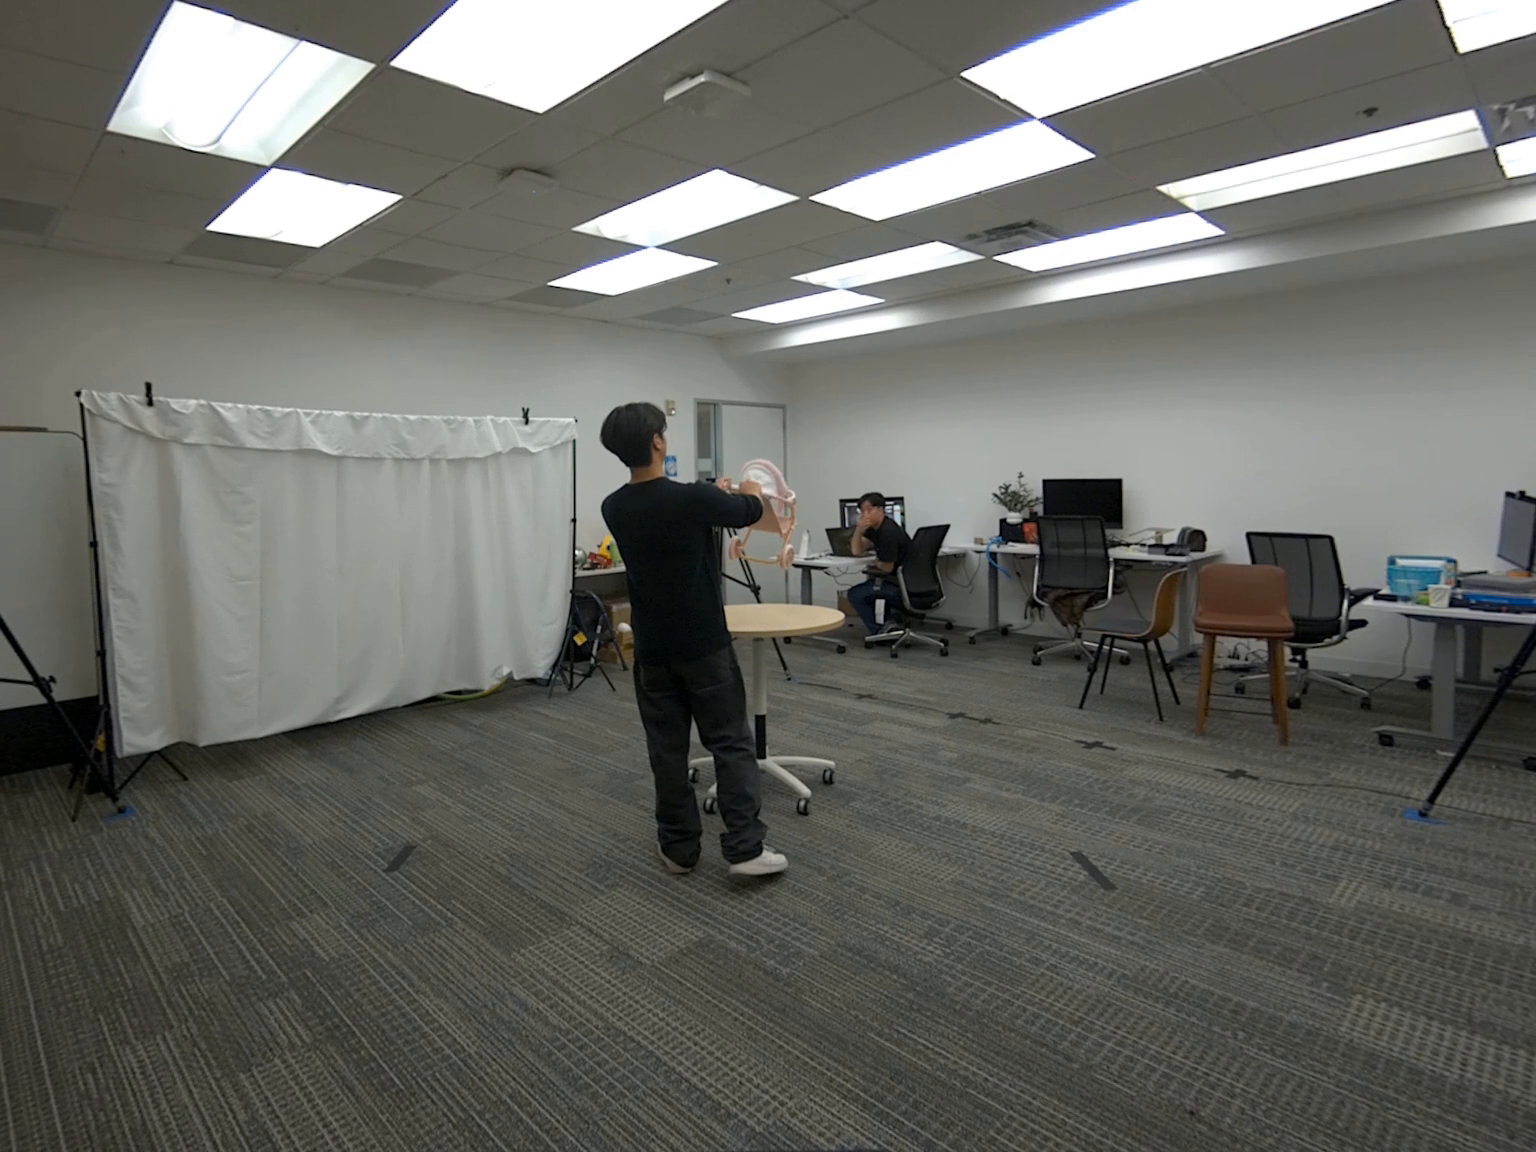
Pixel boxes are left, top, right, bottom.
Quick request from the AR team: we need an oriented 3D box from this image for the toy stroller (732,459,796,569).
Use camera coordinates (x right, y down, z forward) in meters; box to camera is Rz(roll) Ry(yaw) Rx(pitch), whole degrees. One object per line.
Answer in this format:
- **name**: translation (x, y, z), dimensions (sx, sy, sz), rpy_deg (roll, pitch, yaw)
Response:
- **toy stroller**: translation (-0.012, -0.279, 3.694), dimensions (0.289, 0.517, 0.343), rpy_deg (12, 46, 27)
